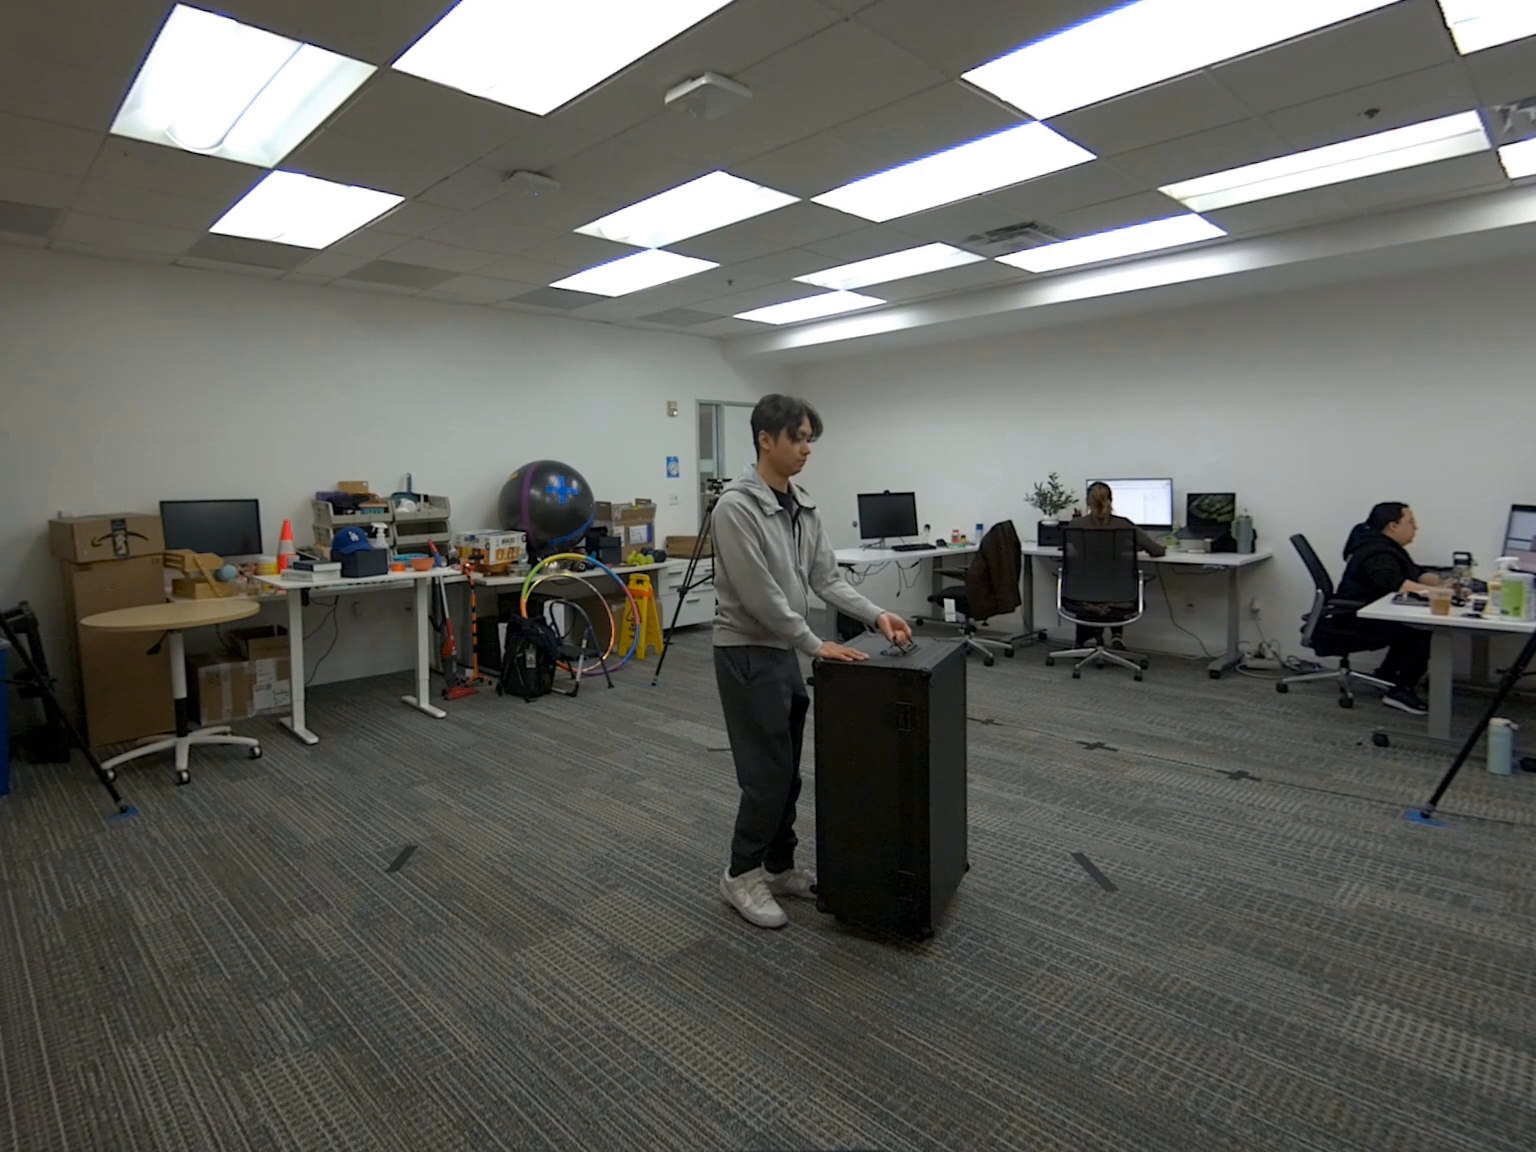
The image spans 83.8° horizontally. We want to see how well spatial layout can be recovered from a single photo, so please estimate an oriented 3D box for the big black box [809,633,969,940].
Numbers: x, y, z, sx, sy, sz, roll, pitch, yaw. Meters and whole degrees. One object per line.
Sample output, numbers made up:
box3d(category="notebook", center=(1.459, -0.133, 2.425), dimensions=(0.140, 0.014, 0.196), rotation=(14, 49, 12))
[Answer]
box3d(category="big black box", center=(0.394, 0.648, 2.724), dimensions=(0.406, 0.859, 0.511), rotation=(0, 4, 27))
